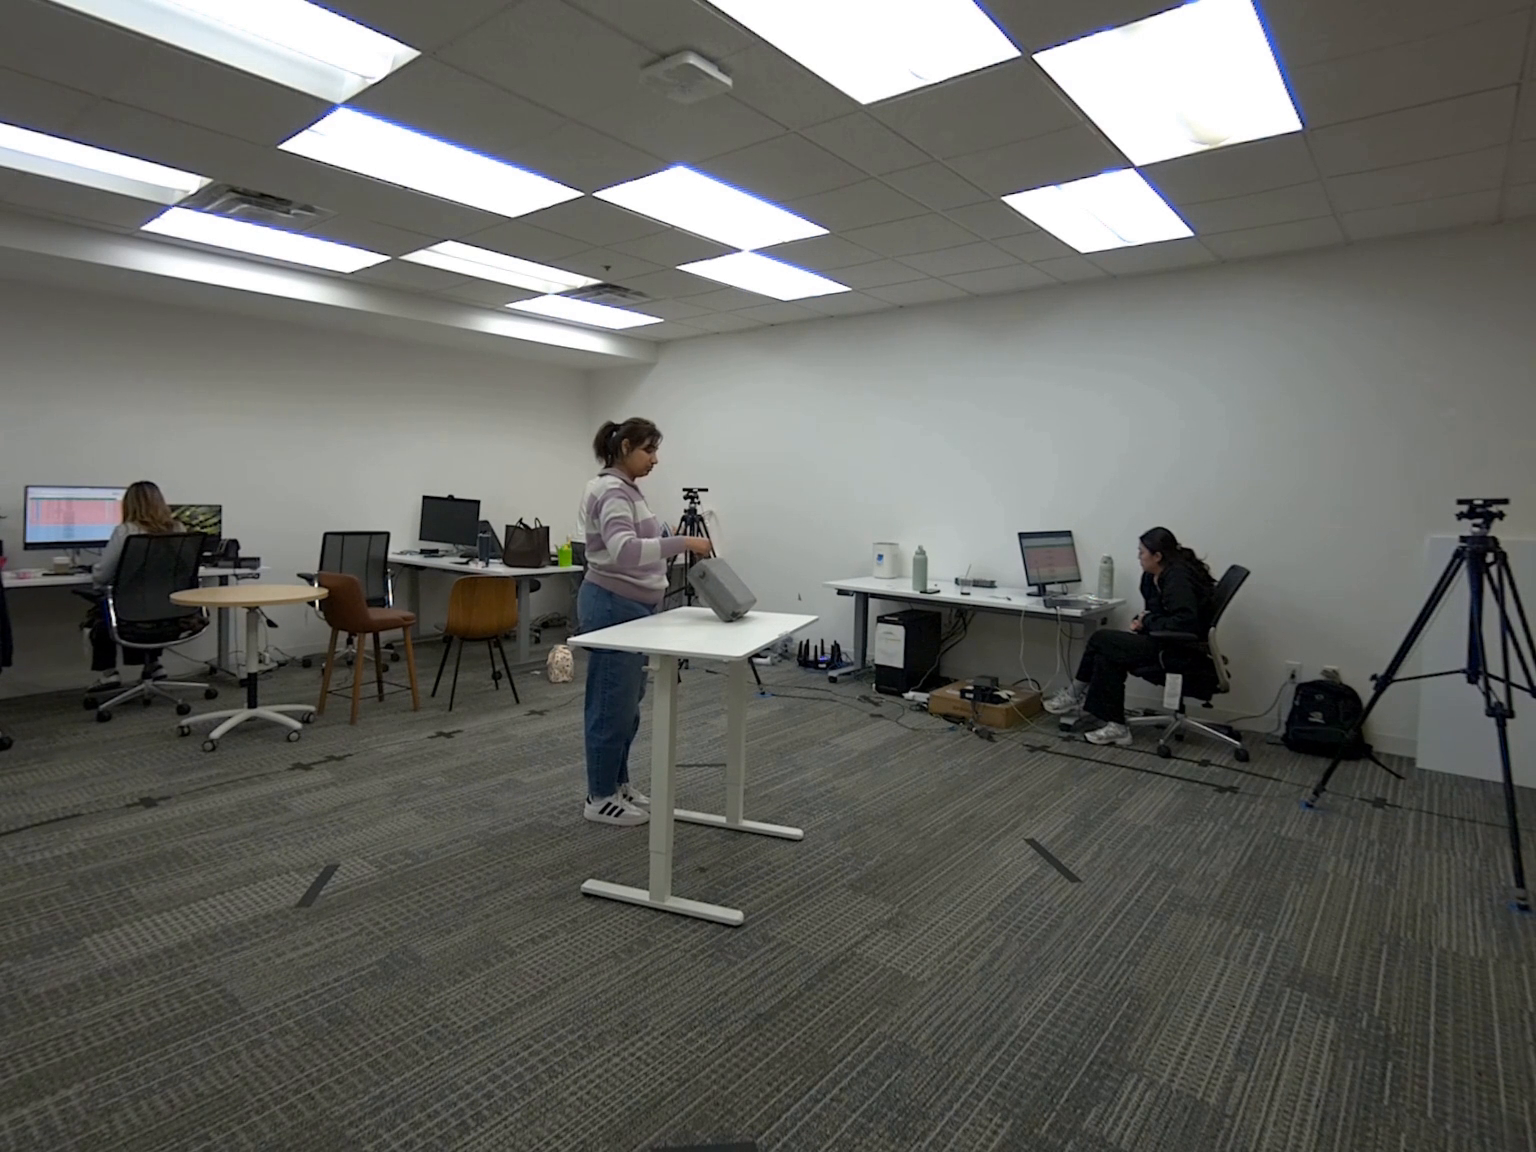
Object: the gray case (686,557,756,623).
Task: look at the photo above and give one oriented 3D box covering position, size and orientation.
[{"bbox_3d":[-0.185,0.046,3.365,0.104,0.264,0.253,-43,-8,15],"label":"gray case"}]
